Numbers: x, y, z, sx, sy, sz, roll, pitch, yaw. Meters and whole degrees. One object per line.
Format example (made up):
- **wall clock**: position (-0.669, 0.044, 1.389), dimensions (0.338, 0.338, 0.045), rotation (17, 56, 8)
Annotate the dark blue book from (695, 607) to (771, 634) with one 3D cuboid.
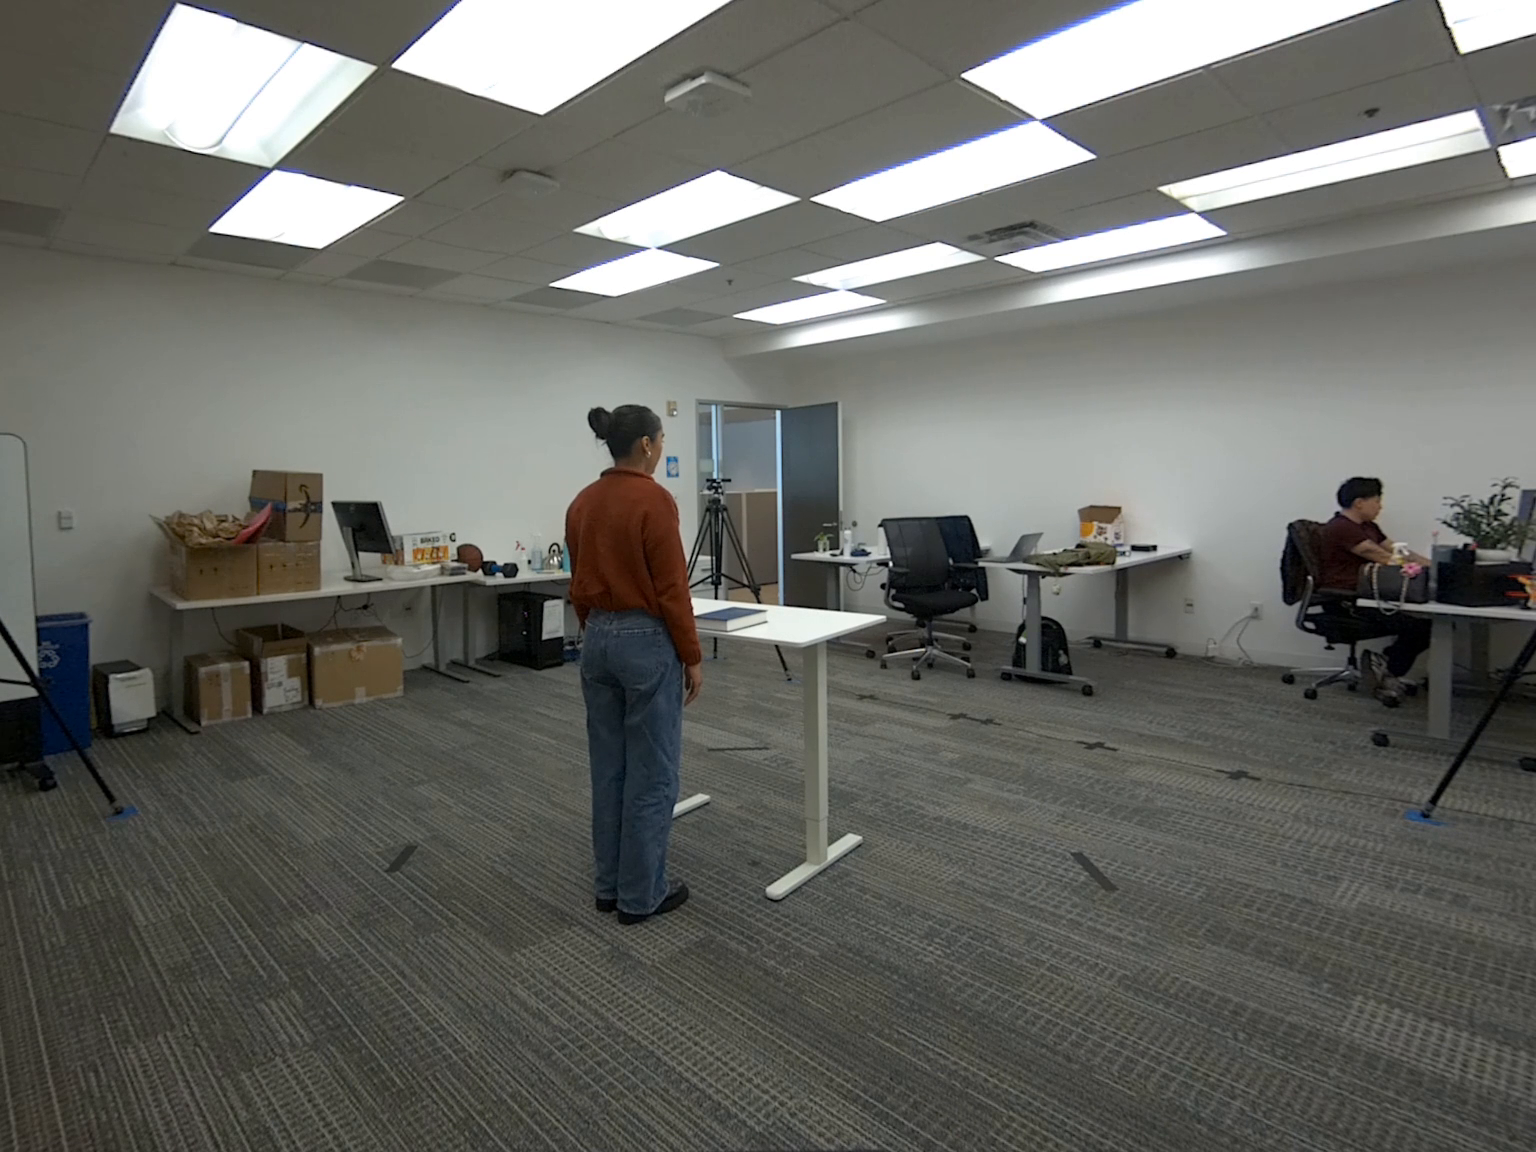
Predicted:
- **dark blue book**: position (-0.129, 0.154, 3.020), dimensions (0.168, 0.045, 0.239), rotation (3, 8, 34)
